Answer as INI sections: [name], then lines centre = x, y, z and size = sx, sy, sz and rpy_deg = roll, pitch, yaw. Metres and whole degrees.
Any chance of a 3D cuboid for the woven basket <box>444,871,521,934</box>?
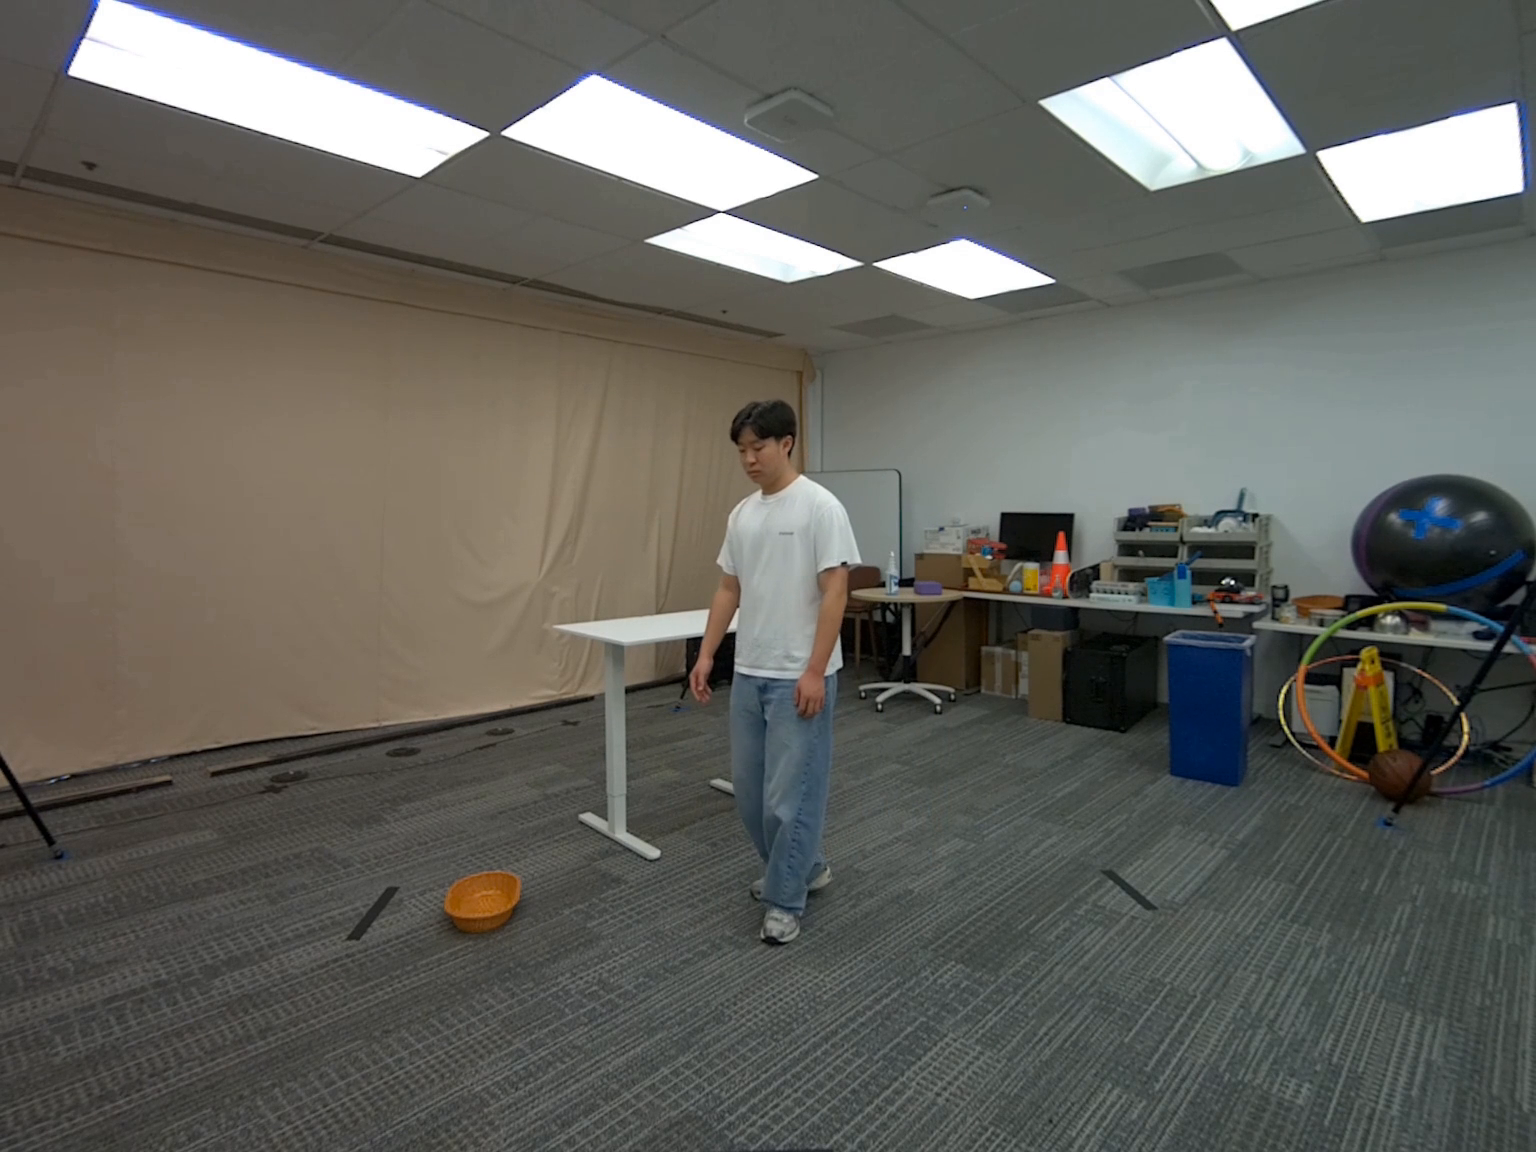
[woven basket]
centre = -0.977, 1.126, 2.897
size = 0.250, 0.073, 0.354
rpy_deg = -2, 4, -9
